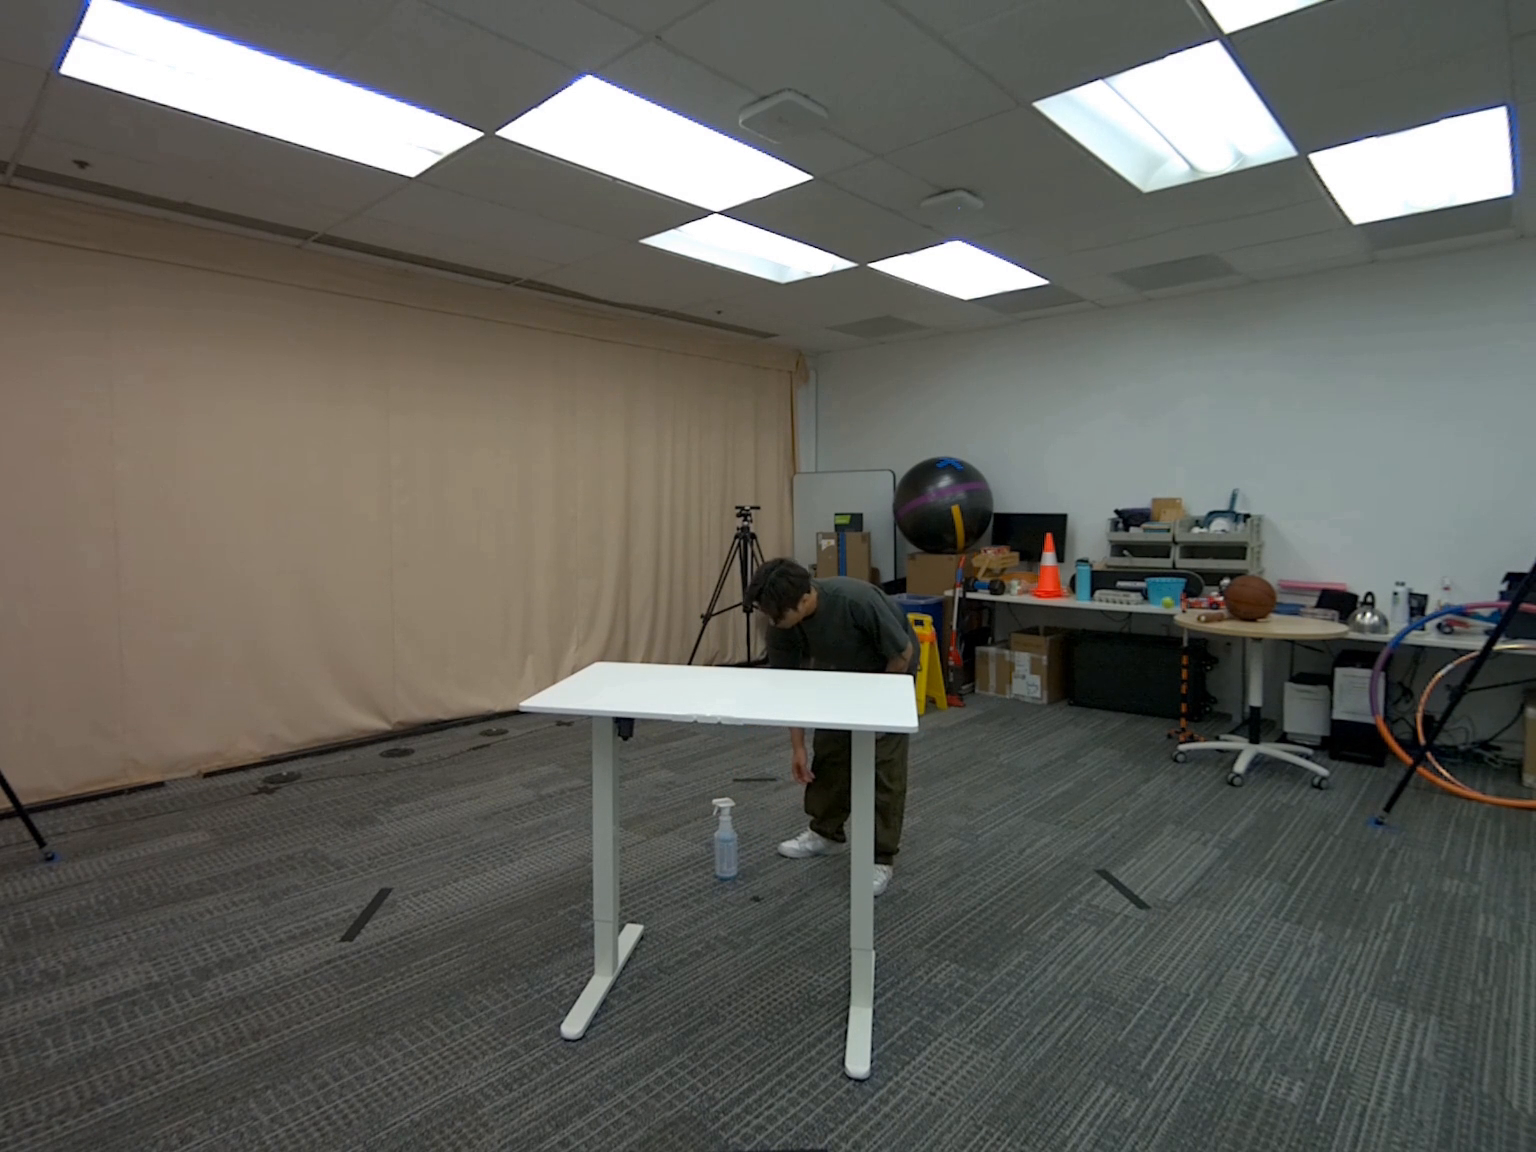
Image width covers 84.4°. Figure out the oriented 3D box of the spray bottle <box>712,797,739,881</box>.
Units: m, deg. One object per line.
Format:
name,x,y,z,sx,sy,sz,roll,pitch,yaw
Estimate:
spray bottle,-0.158,0.987,3.166,0.090,0.296,0.087,-2,4,-1
